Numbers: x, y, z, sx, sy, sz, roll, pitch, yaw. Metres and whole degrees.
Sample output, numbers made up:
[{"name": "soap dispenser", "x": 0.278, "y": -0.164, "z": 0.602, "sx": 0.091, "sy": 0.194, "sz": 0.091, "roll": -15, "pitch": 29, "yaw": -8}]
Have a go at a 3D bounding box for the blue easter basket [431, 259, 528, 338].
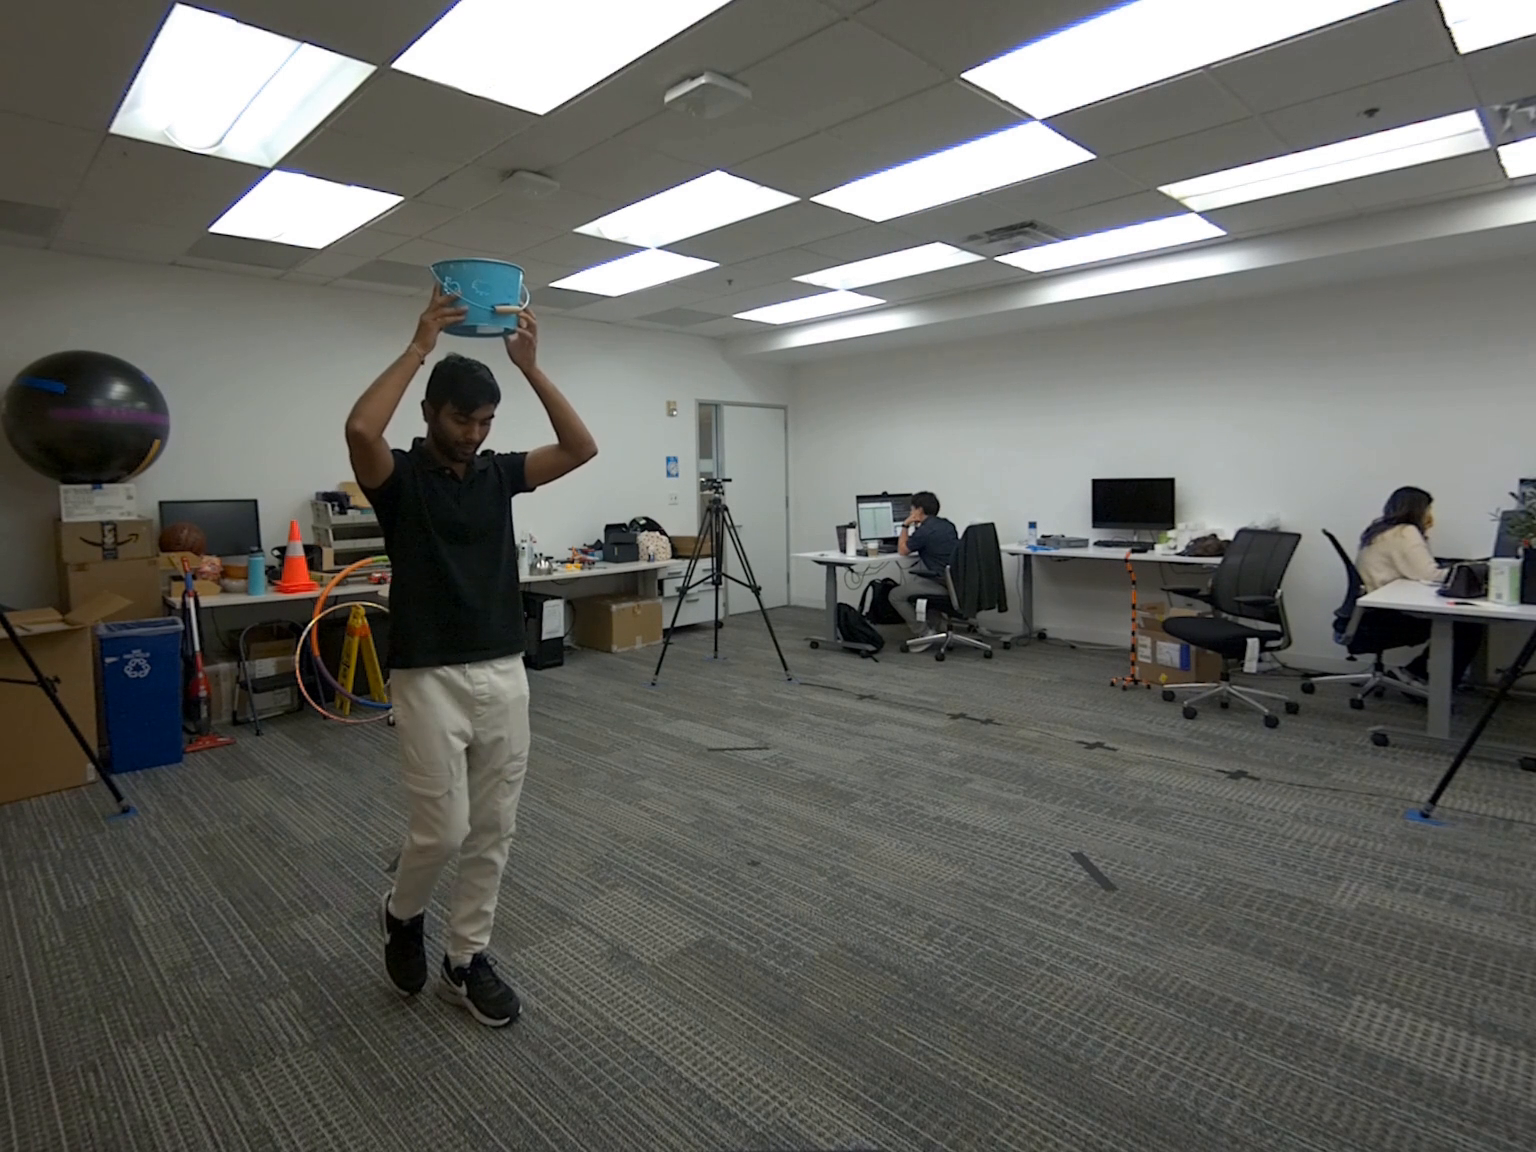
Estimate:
[{"name": "blue easter basket", "x": -0.736, "y": -0.689, "z": 2.126, "sx": 0.243, "sy": 0.155, "sz": 0.245, "roll": -3, "pitch": 5, "yaw": -1}]
